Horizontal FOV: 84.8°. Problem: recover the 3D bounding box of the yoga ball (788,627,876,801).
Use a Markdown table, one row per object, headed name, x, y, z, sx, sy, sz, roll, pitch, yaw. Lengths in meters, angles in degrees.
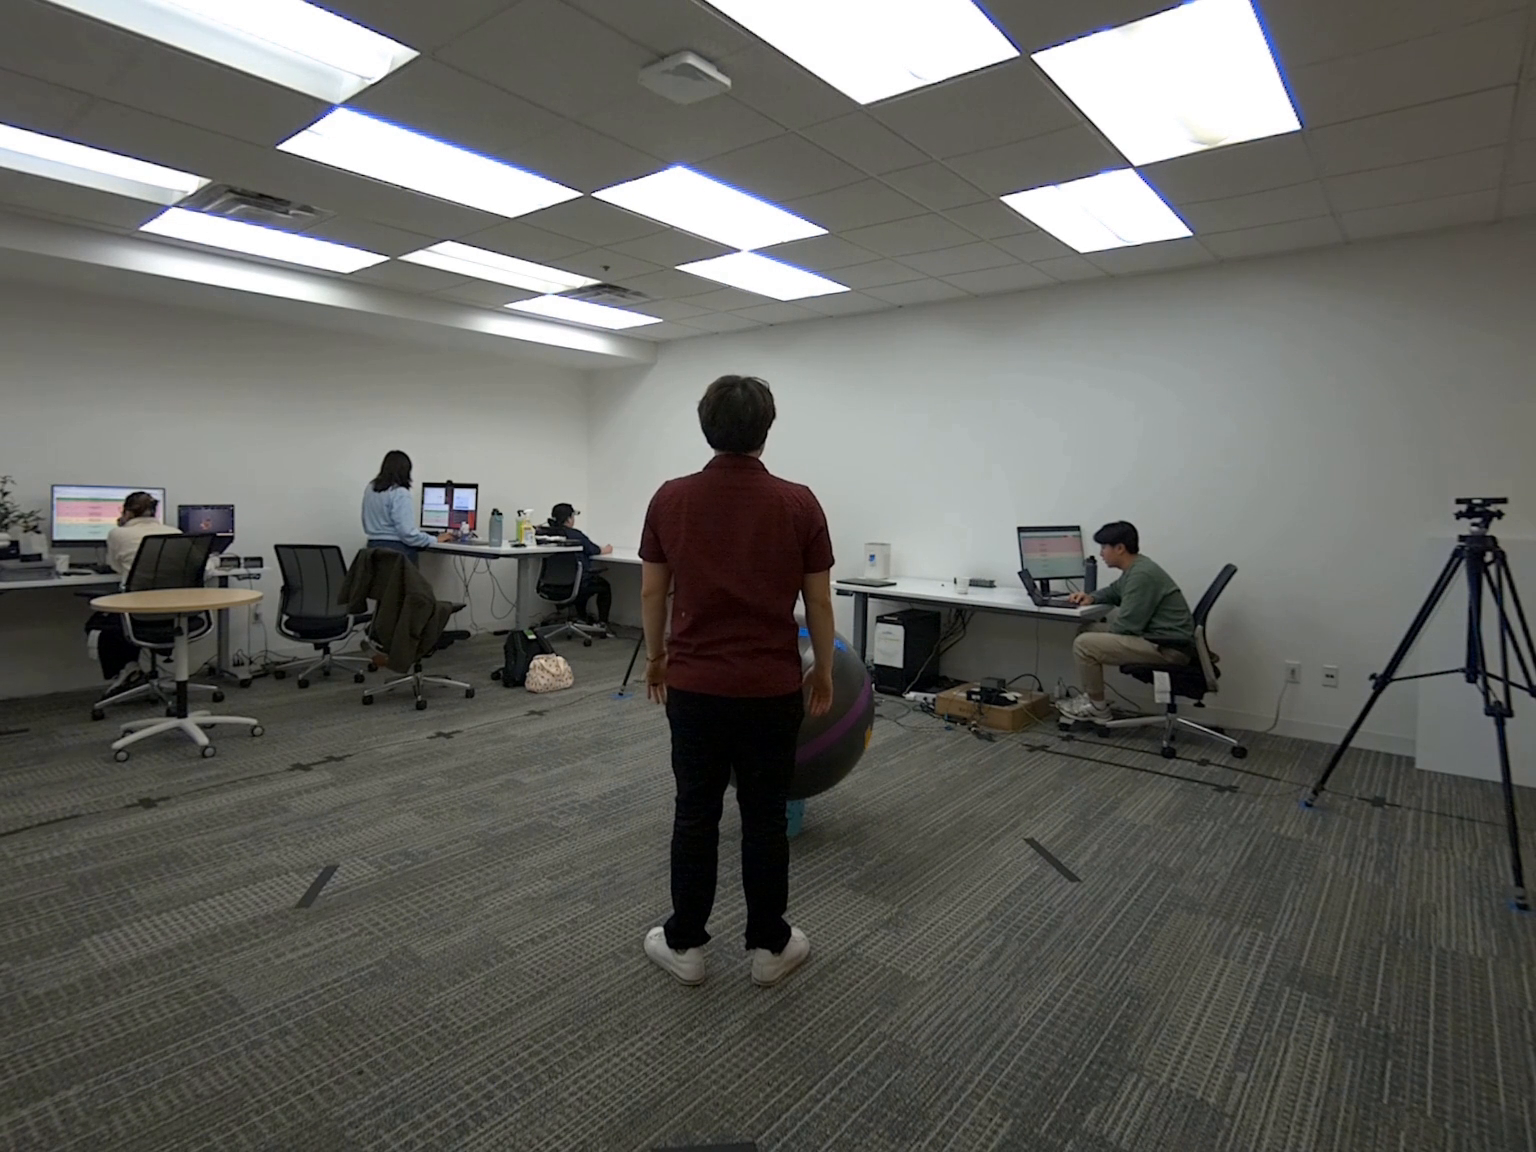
| name | x | y | z | sx | sy | sz | roll | pitch | yaw |
| --- | --- | --- | --- | --- | --- | --- | --- | --- | --- |
| yoga ball | 0.053 | 0.529 | 3.482 | 0.757 | 0.756 | 0.762 | 1 | 4 | -2 |
